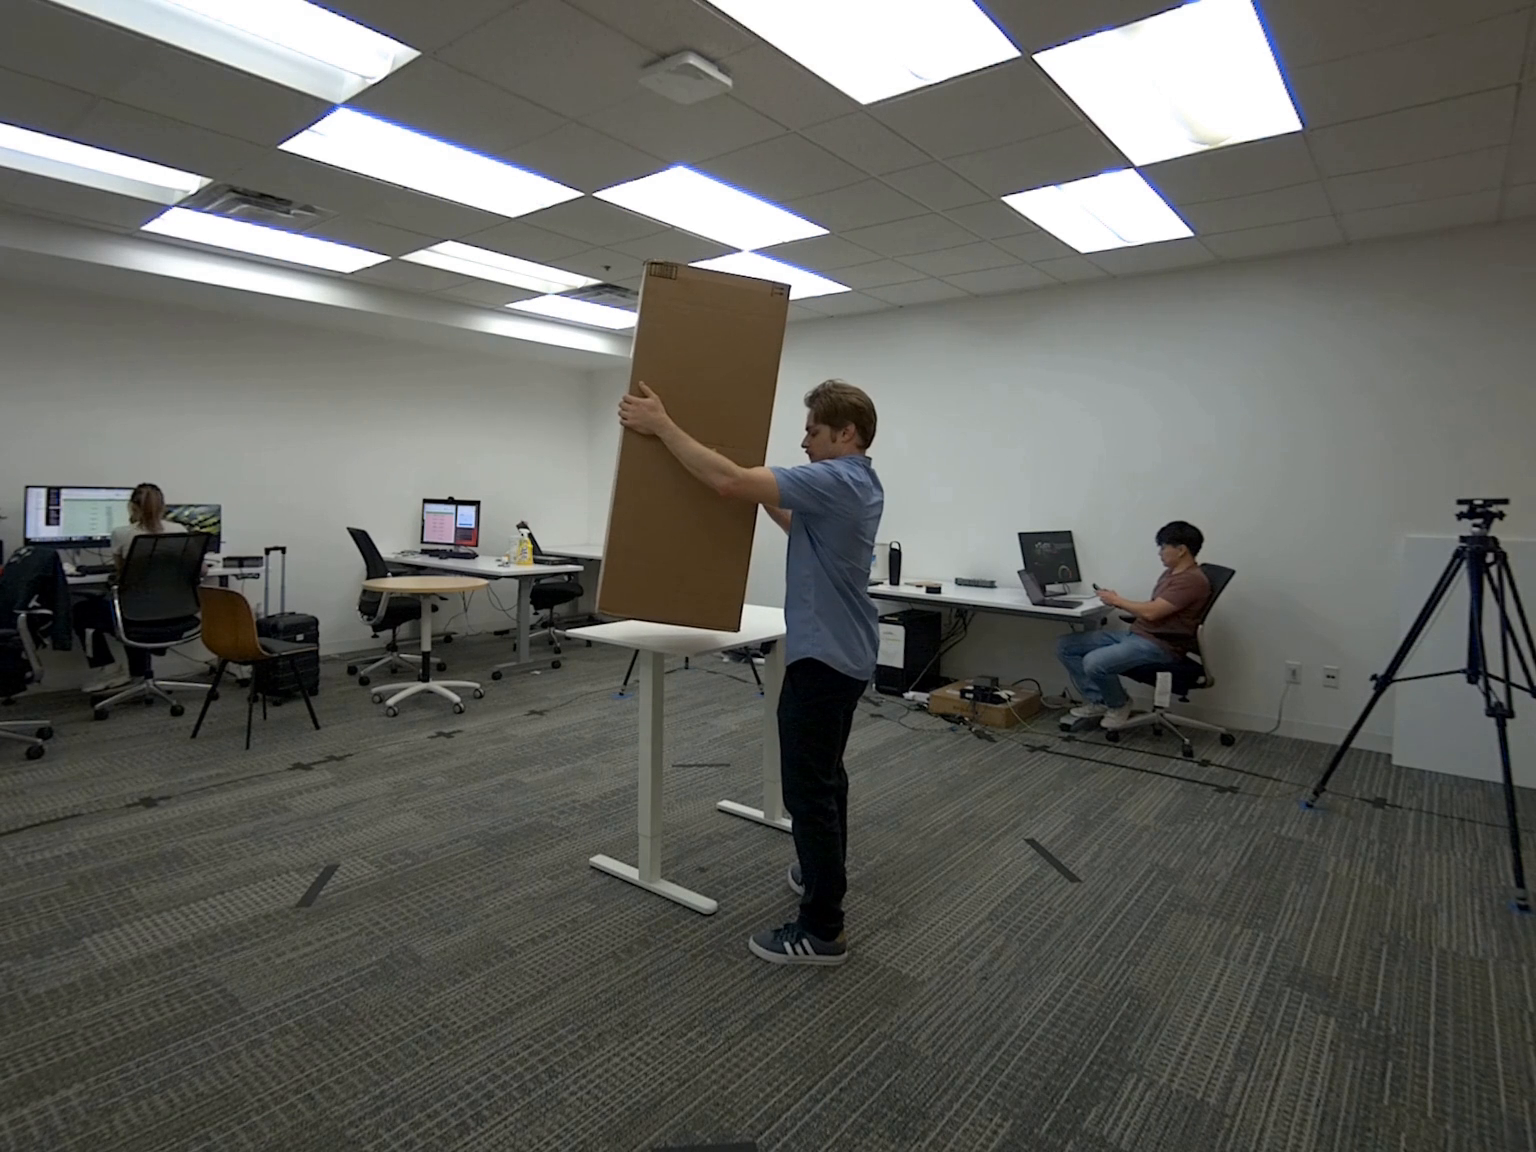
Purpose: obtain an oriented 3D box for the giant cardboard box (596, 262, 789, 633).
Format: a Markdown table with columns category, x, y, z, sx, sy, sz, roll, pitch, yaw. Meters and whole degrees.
| category | x | y | z | sx | sy | sz | roll | pitch | yaw |
| --- | --- | --- | --- | --- | --- | --- | --- | --- | --- |
| giant cardboard box | -0.263 | -0.400 | 2.715 | 0.422 | 1.023 | 0.585 | 8 | 3 | -9 |
